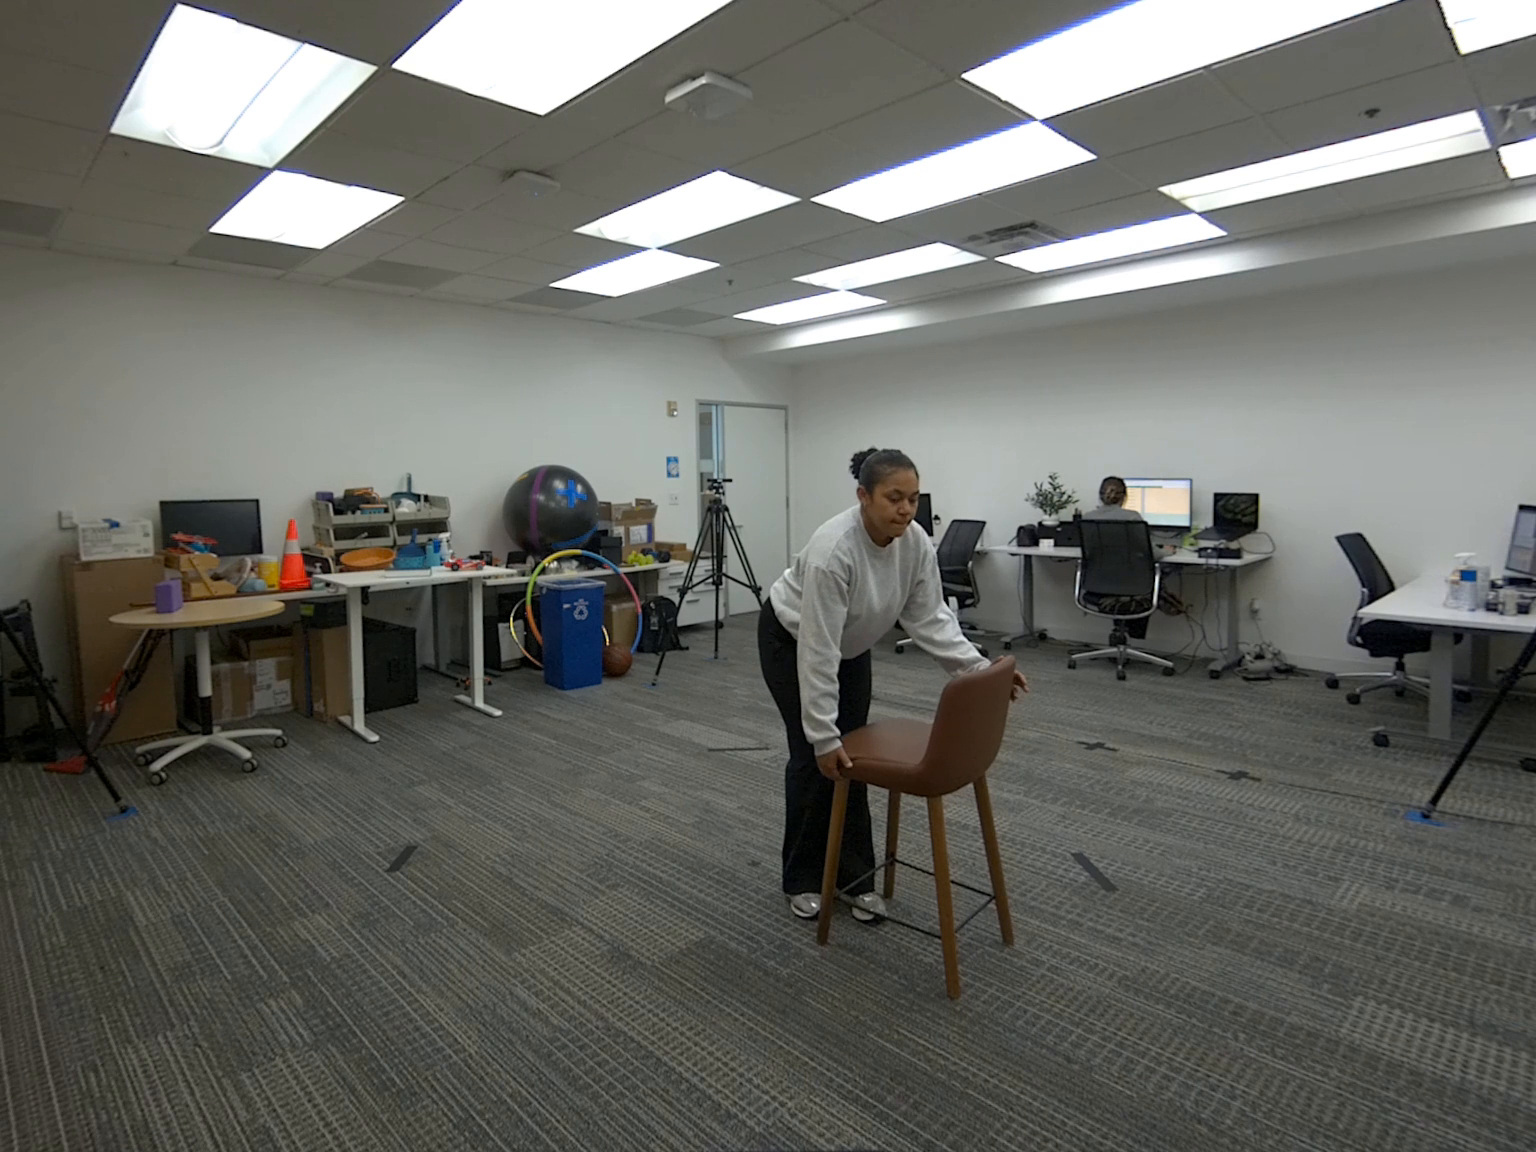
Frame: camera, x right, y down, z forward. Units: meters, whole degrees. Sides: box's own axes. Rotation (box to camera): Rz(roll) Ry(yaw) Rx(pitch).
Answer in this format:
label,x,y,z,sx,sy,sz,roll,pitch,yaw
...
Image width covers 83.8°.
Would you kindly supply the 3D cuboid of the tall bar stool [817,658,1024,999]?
label,x,y,z,sx,sy,sz,roll,pitch,yaw
tall bar stool,0.450,0.664,2.523,0.482,0.885,0.445,6,8,40
